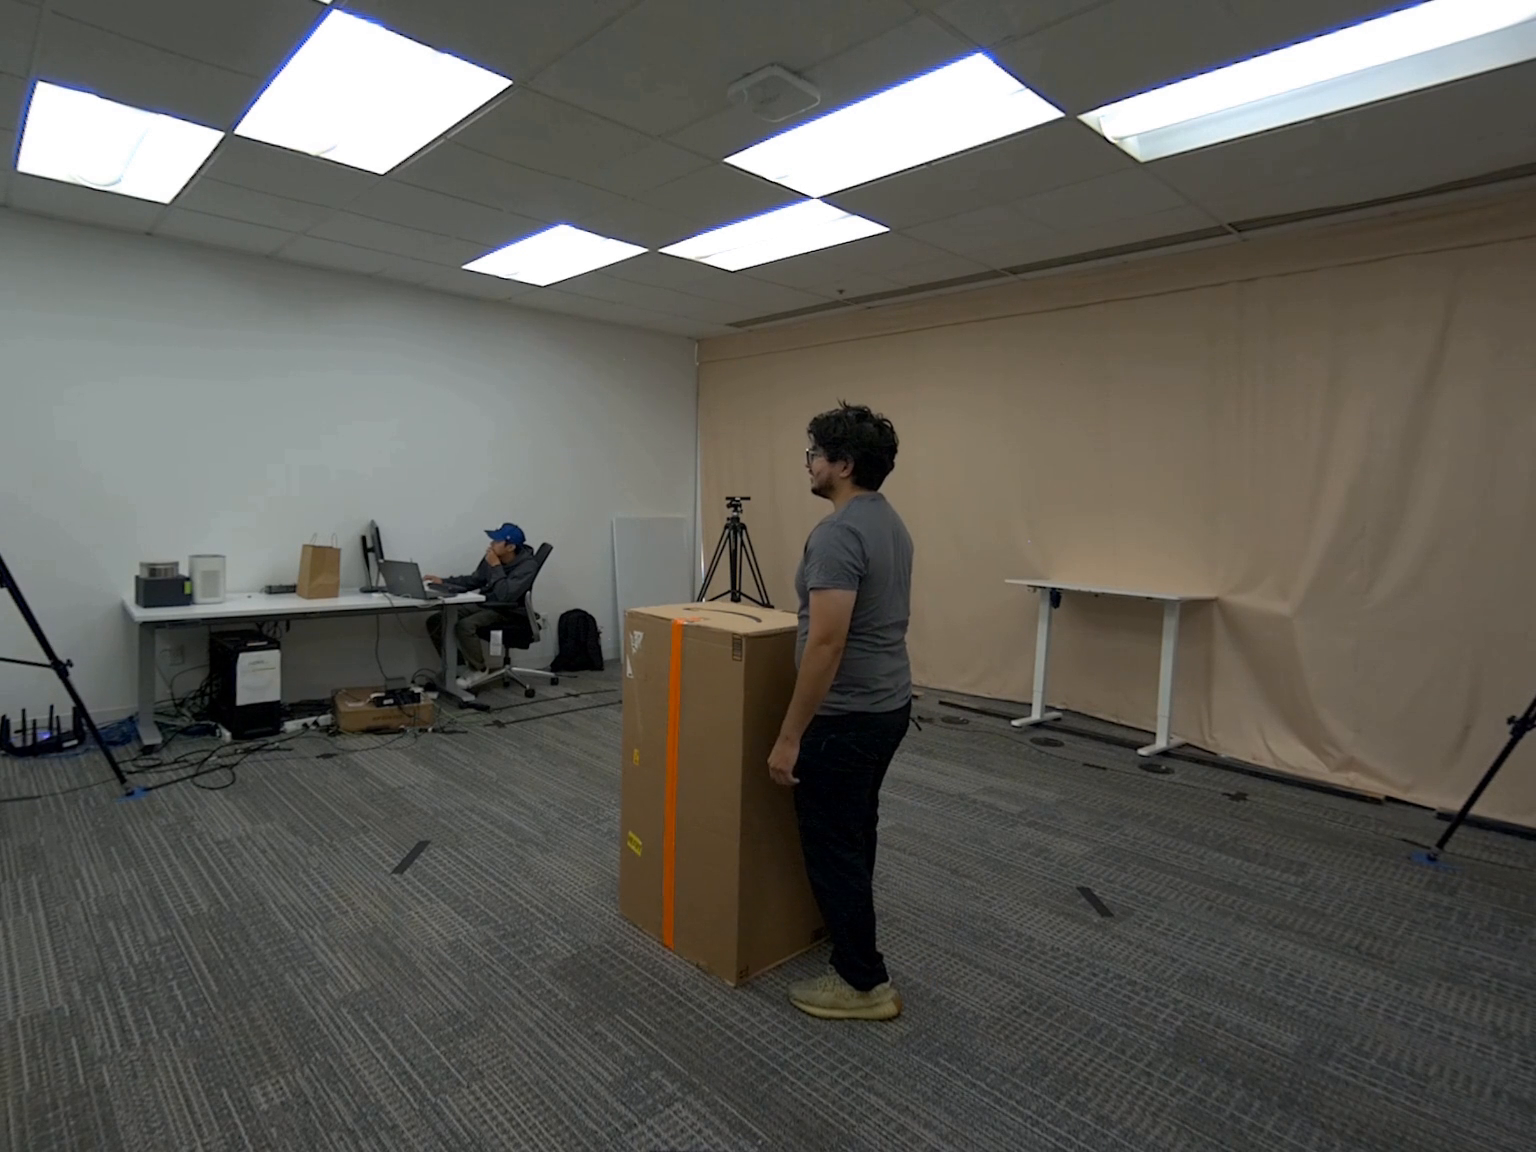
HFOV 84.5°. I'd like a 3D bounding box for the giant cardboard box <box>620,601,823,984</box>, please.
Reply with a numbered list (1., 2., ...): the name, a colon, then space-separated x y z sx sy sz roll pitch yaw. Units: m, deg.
1. giant cardboard box: -0.148 0.637 2.710 0.436 1.025 0.599 -1 4 -44
